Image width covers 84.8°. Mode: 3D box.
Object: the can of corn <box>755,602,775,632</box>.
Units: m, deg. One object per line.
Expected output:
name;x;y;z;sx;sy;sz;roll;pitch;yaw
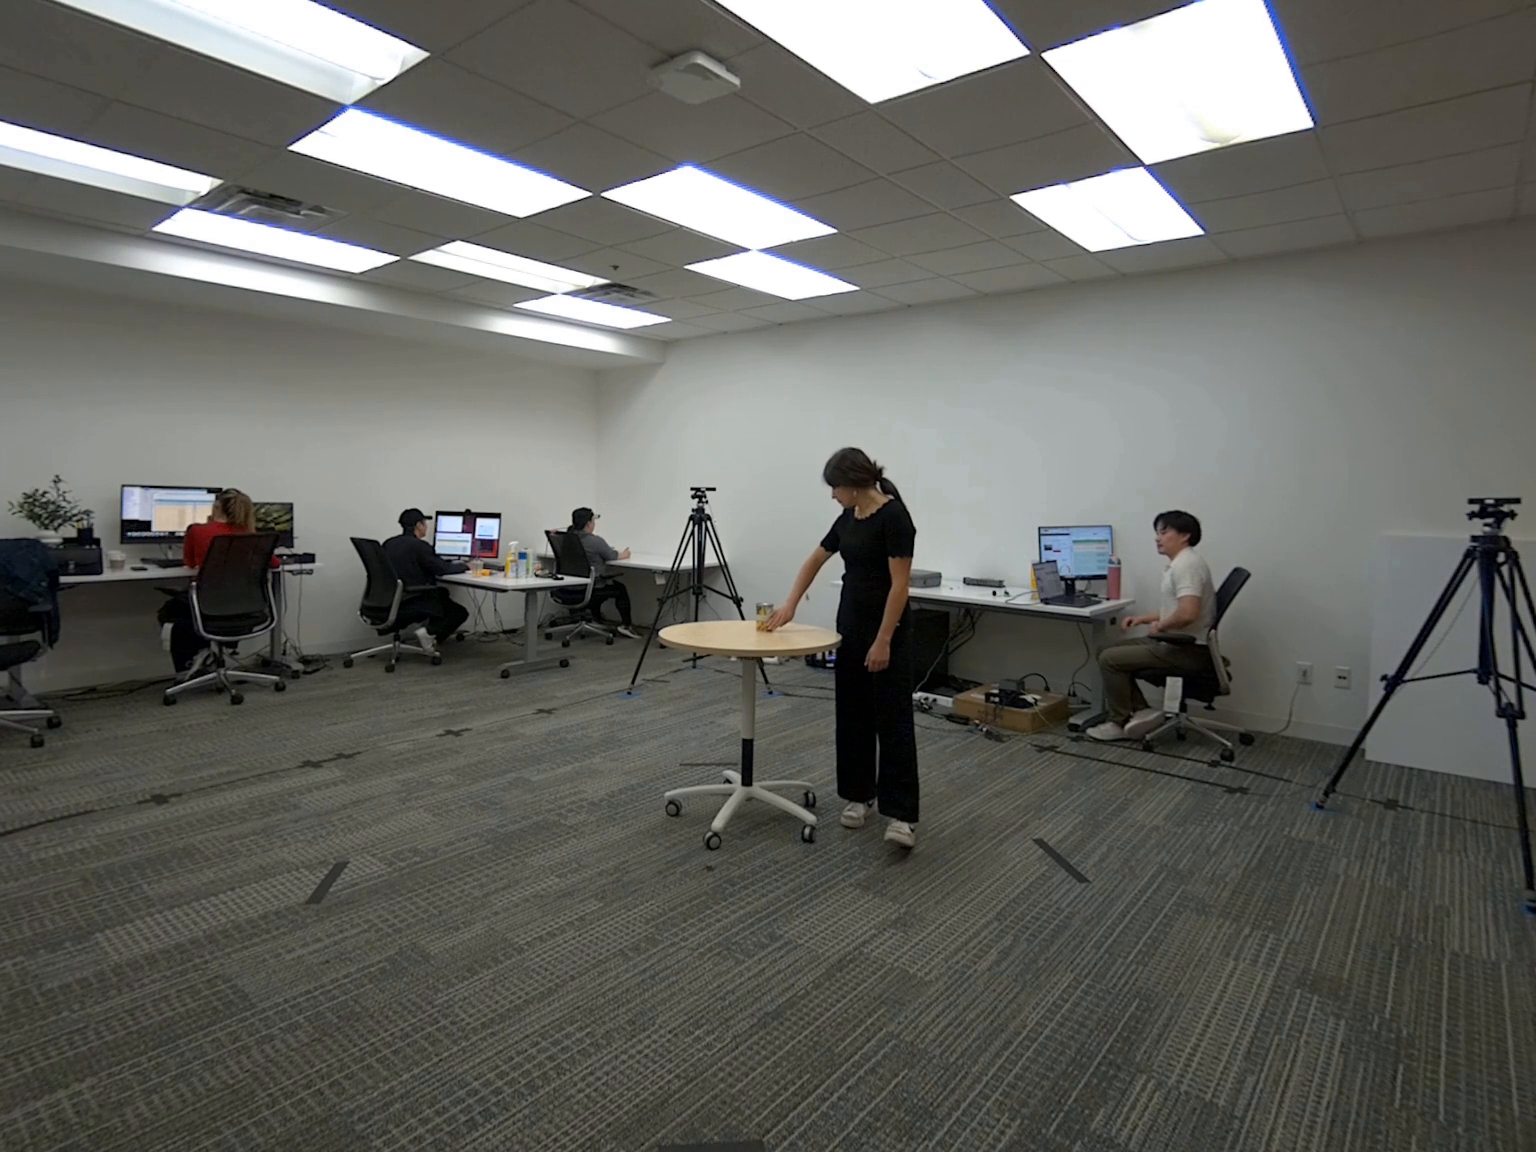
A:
can of corn;-0.016;0.176;3.695;0.074;0.111;0.074;3;1;-2
